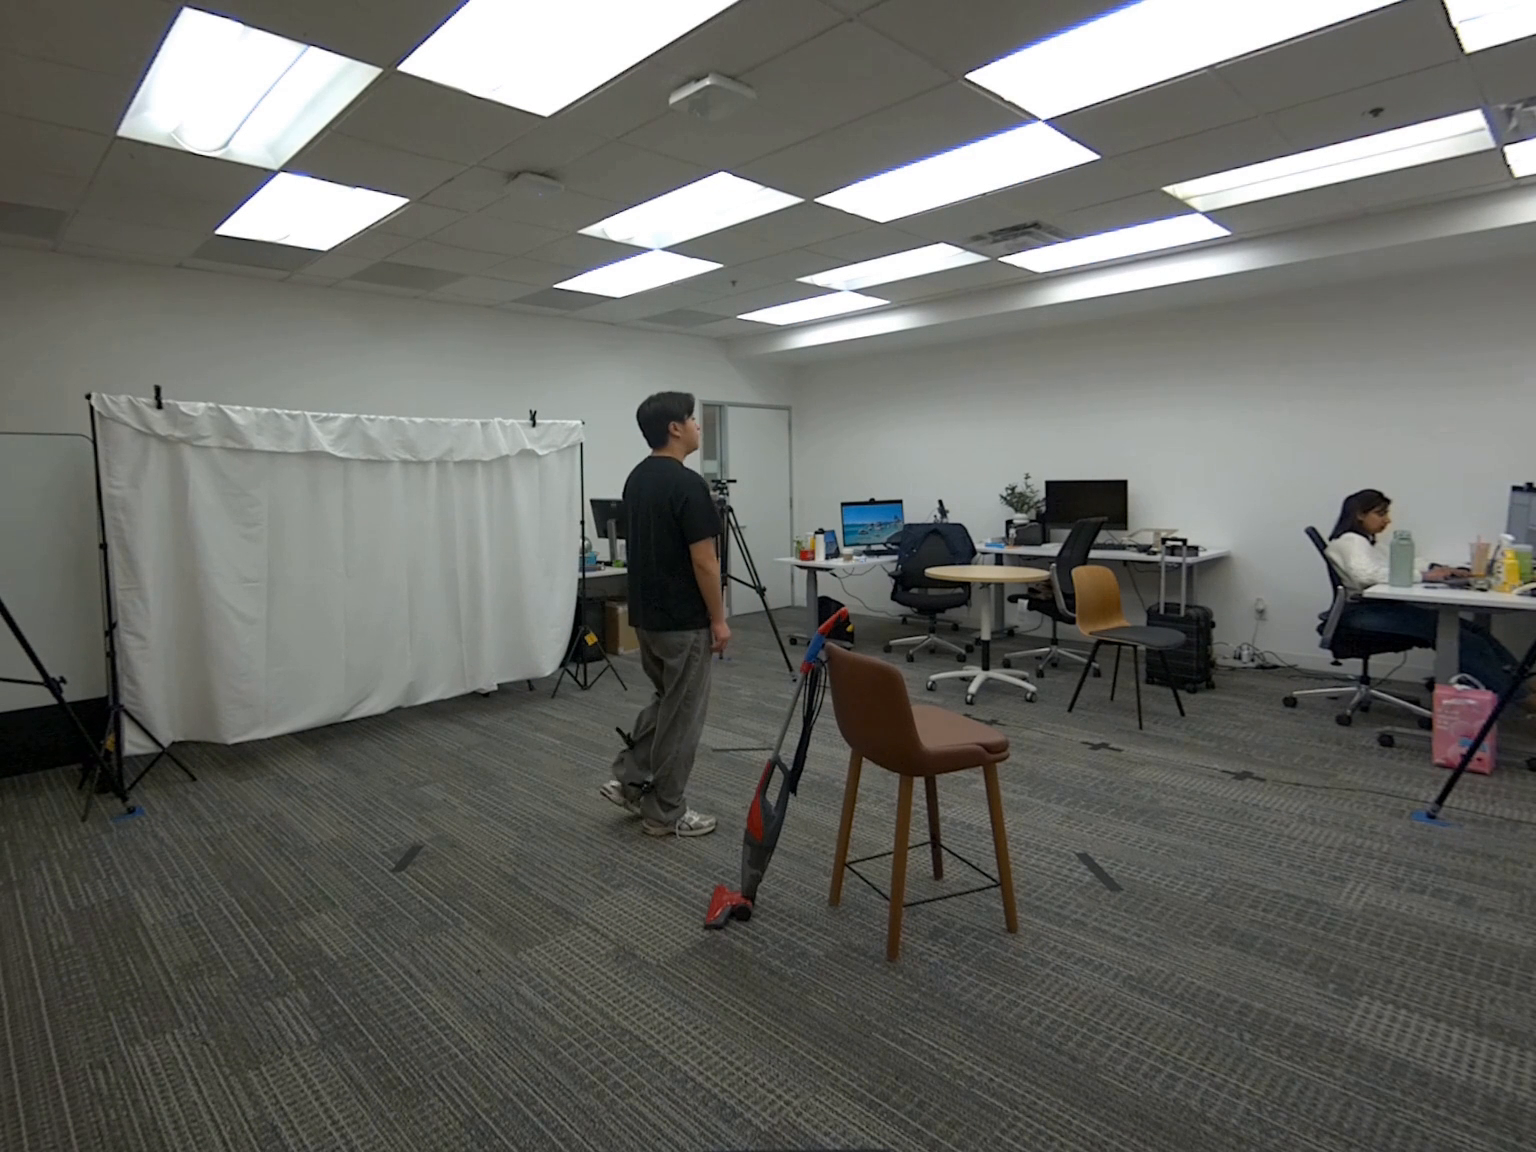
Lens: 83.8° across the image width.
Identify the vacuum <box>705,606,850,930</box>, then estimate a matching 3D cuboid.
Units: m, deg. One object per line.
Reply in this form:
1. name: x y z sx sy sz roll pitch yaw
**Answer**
1. vacuum: 0.062 0.594 2.711 0.144 1.045 0.253 19 6 0
